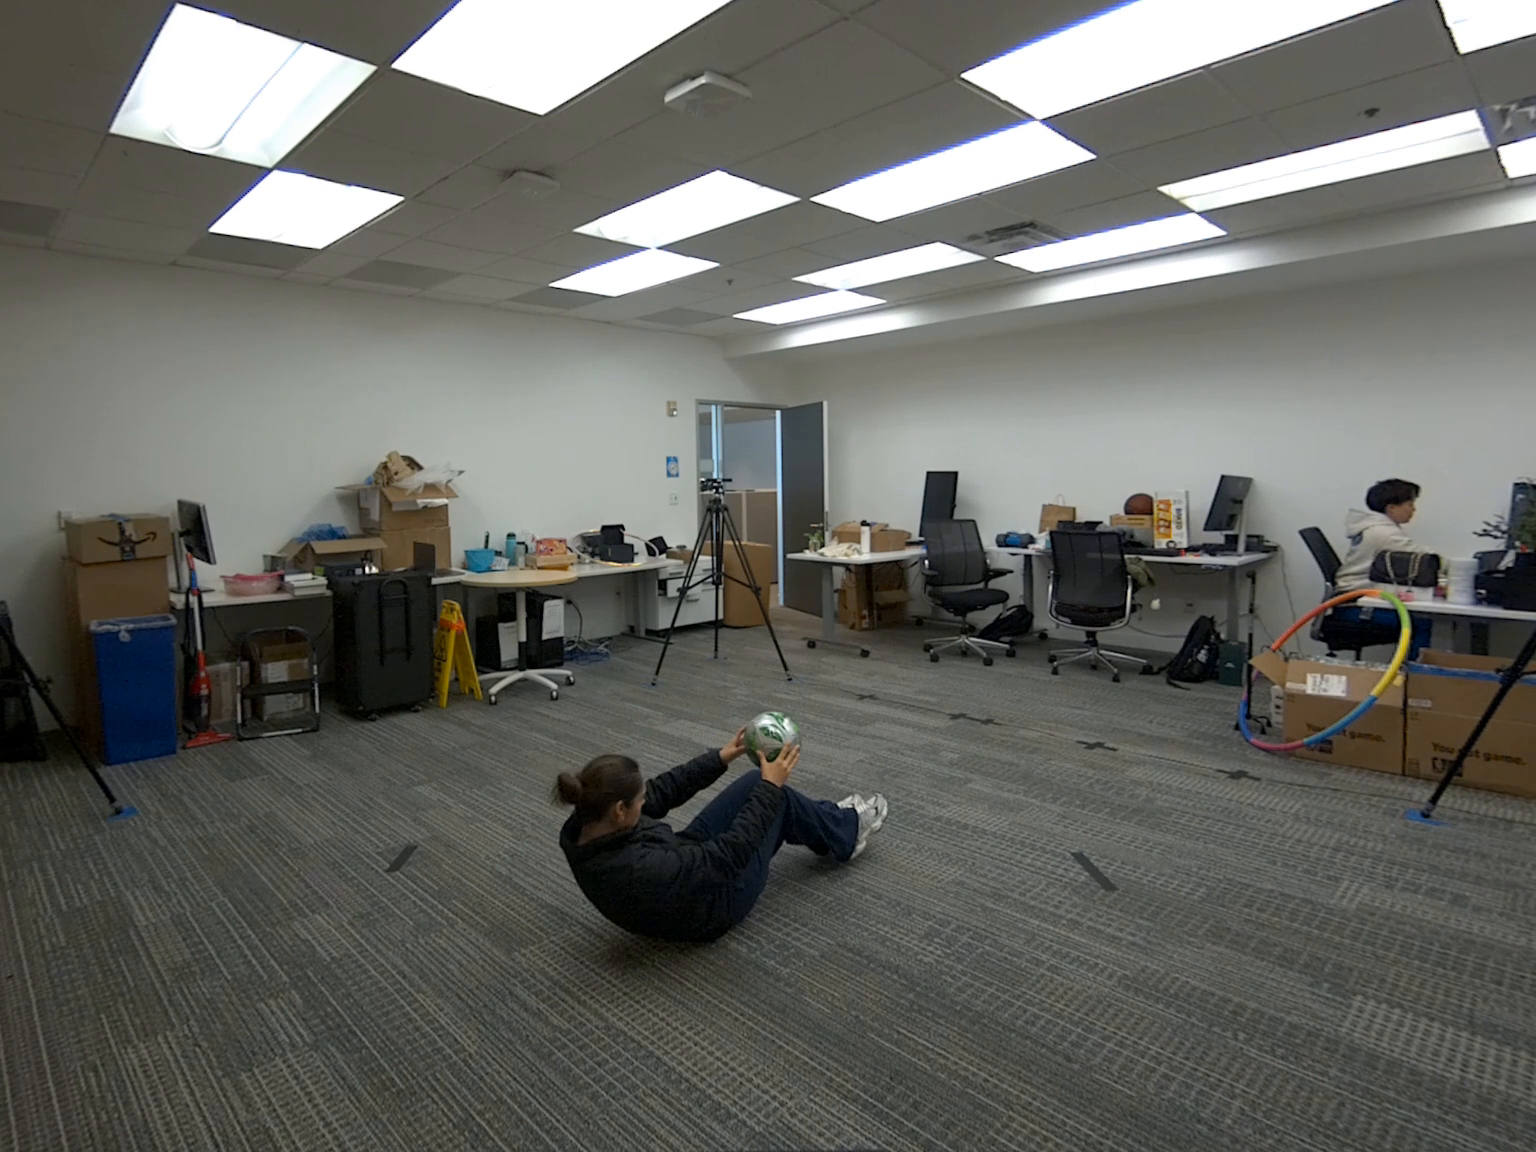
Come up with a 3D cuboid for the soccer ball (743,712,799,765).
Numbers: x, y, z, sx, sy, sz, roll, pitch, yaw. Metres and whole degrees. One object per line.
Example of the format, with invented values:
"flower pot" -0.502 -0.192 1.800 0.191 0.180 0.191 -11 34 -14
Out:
"soccer ball" 0.016 0.530 2.736 0.187 0.187 0.188 0 1 -2
